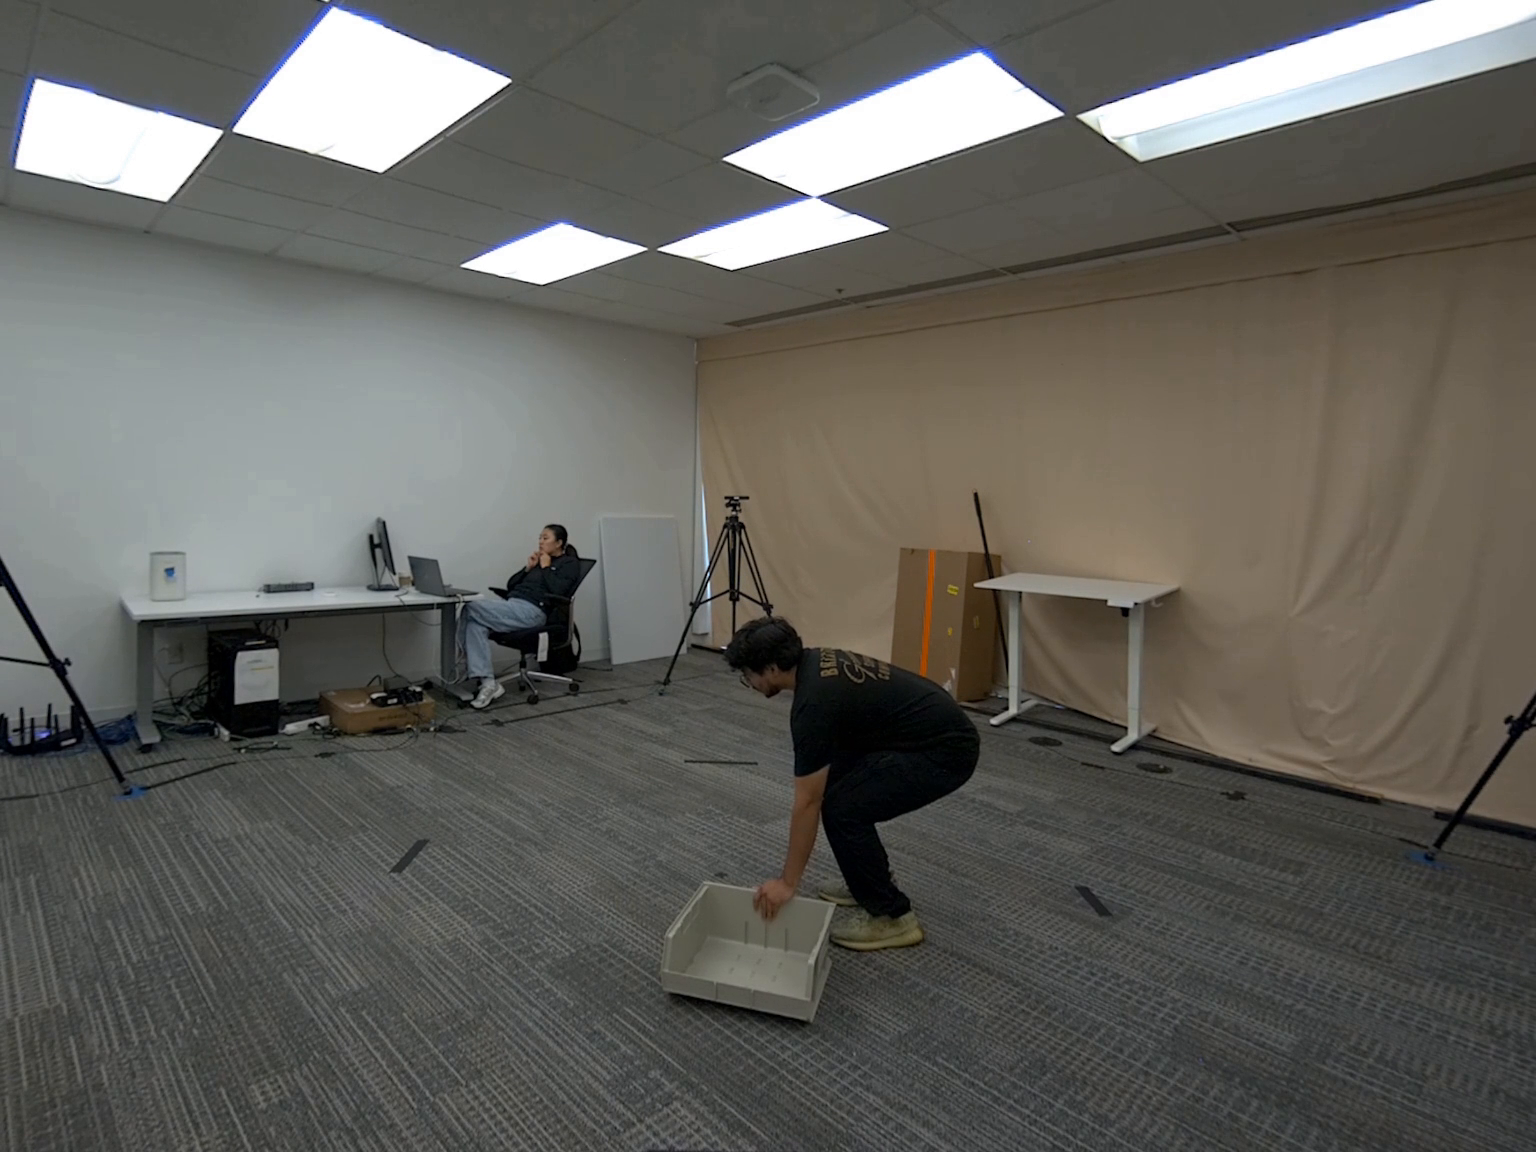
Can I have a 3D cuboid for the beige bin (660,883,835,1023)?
[{"bbox_3d":[-0.048,1.084,2.415,0.428,0.188,0.373,2,3,15],"label":"beige bin"}]
